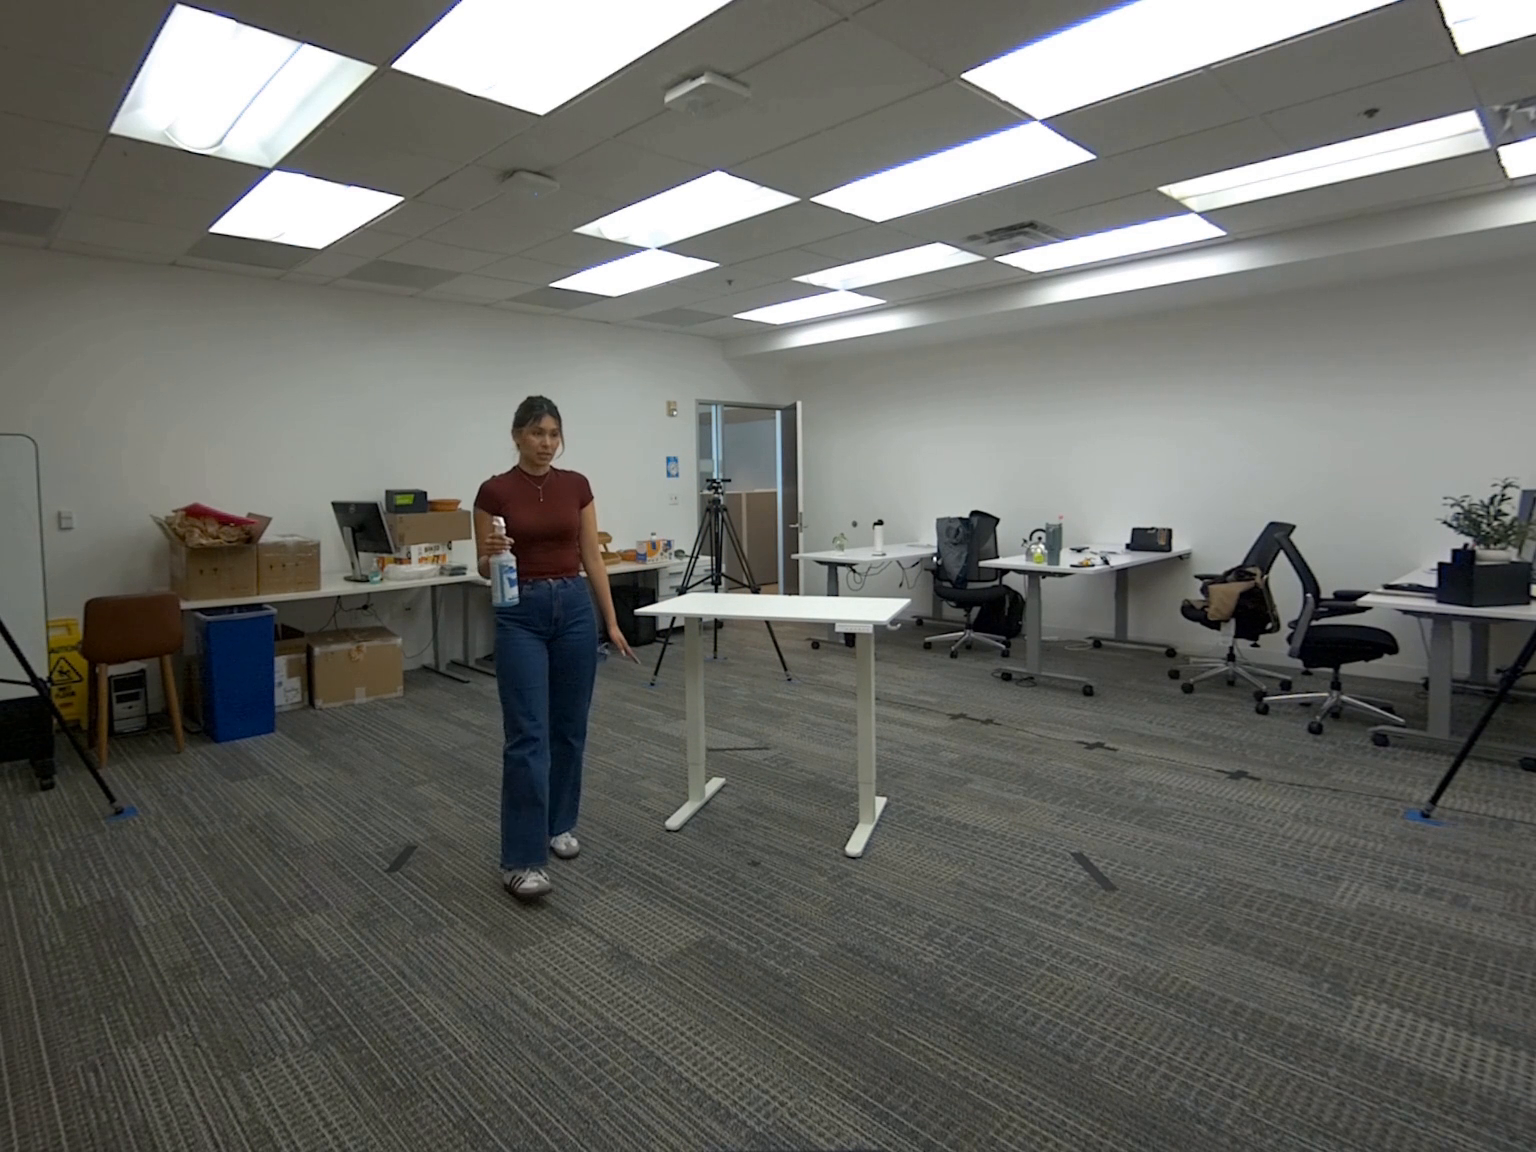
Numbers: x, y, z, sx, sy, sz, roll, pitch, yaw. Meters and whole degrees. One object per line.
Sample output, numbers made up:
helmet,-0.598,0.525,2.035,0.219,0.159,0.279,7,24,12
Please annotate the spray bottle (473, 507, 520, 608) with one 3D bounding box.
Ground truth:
spray bottle,-0.894,-0.049,2.853,0.086,0.297,0.091,-2,3,-7
